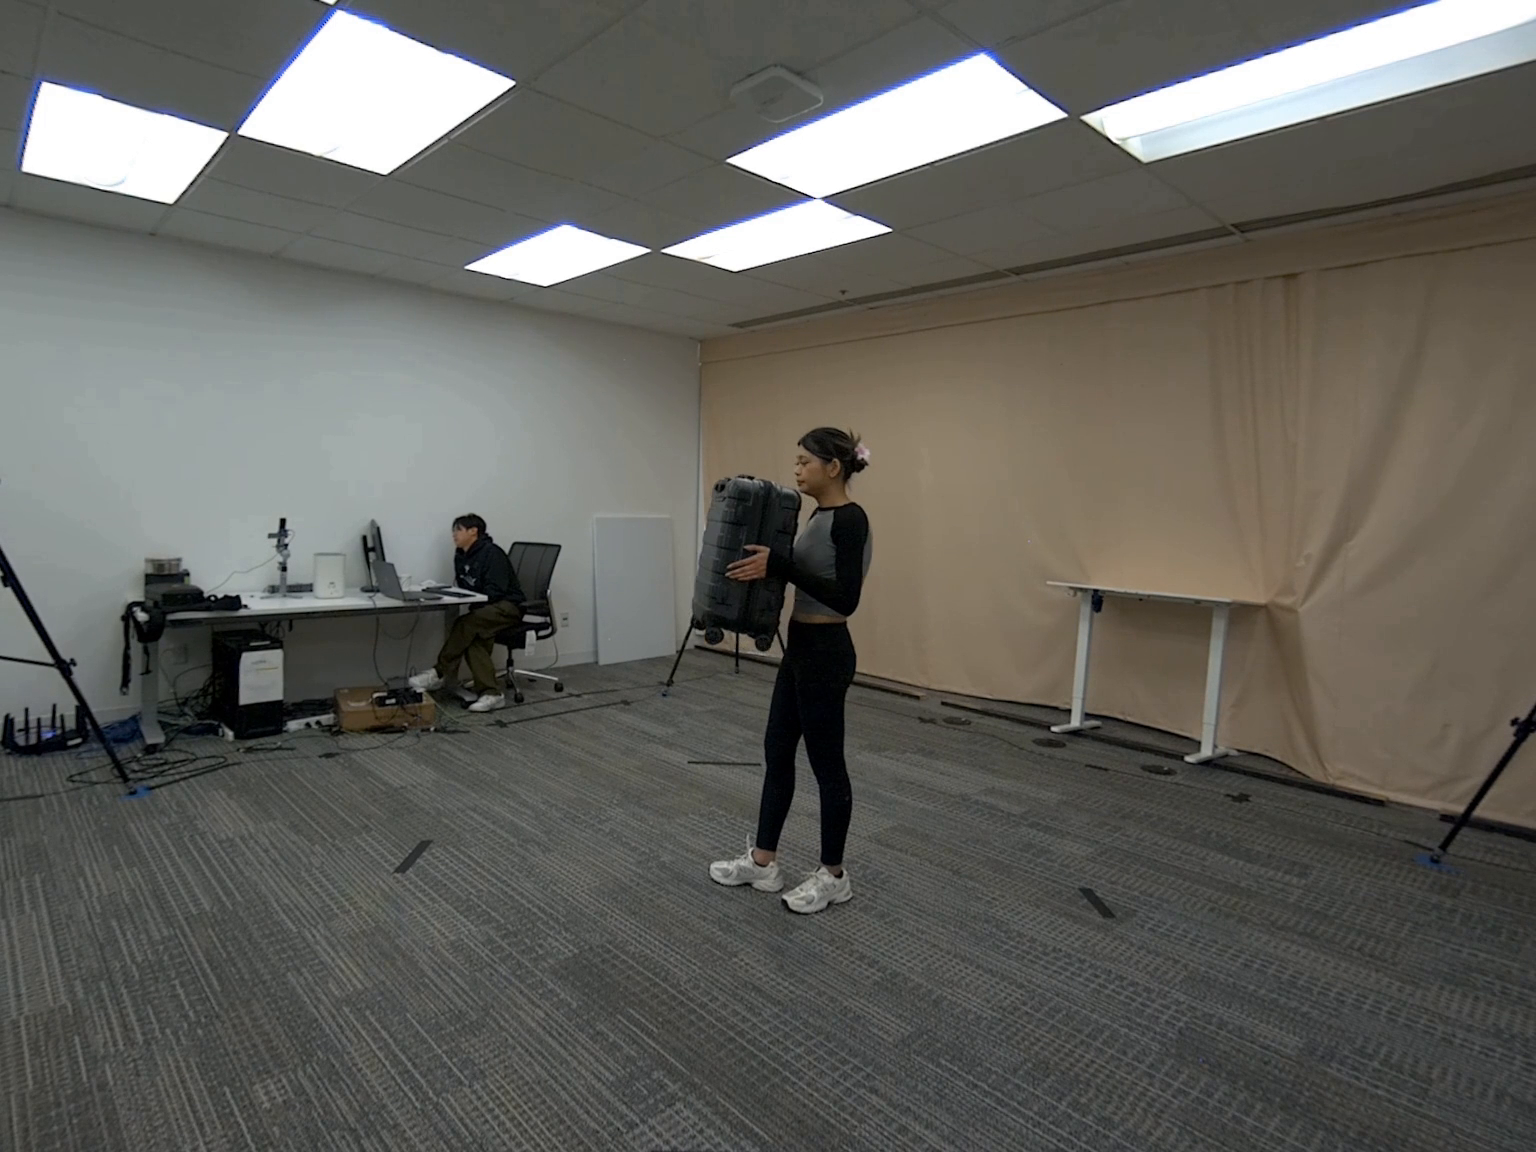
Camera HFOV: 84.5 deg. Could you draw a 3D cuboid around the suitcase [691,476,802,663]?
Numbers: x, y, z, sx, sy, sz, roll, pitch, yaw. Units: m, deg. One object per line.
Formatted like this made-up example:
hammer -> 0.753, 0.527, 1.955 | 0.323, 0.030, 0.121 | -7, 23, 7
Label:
suitcase -> -0.089, -0.059, 2.819 | 0.245, 0.549, 0.380 | 10, 1, -14
